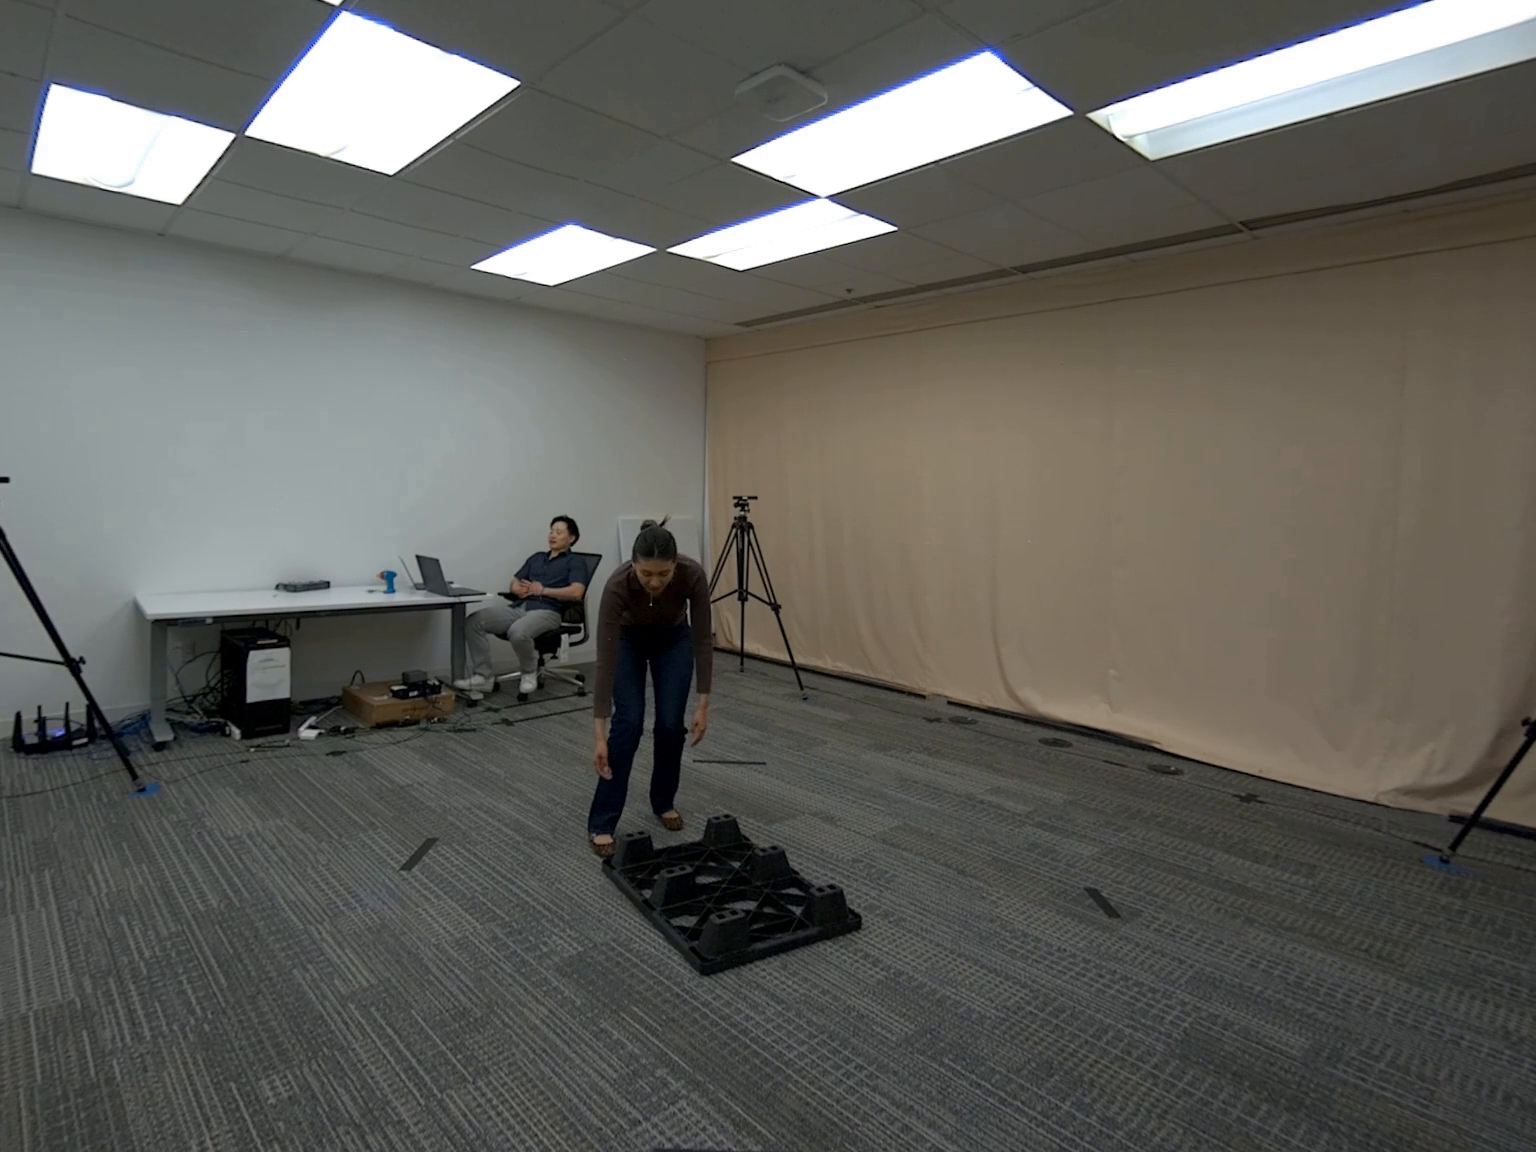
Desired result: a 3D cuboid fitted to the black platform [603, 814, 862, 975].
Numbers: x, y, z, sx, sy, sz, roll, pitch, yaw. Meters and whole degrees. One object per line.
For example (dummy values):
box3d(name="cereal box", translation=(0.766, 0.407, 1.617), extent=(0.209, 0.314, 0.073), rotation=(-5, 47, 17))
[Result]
box3d(name="black platform", translation=(-0.151, 1.052, 2.918), extent=(0.593, 0.143, 0.825), rotation=(-2, 7, -32))
